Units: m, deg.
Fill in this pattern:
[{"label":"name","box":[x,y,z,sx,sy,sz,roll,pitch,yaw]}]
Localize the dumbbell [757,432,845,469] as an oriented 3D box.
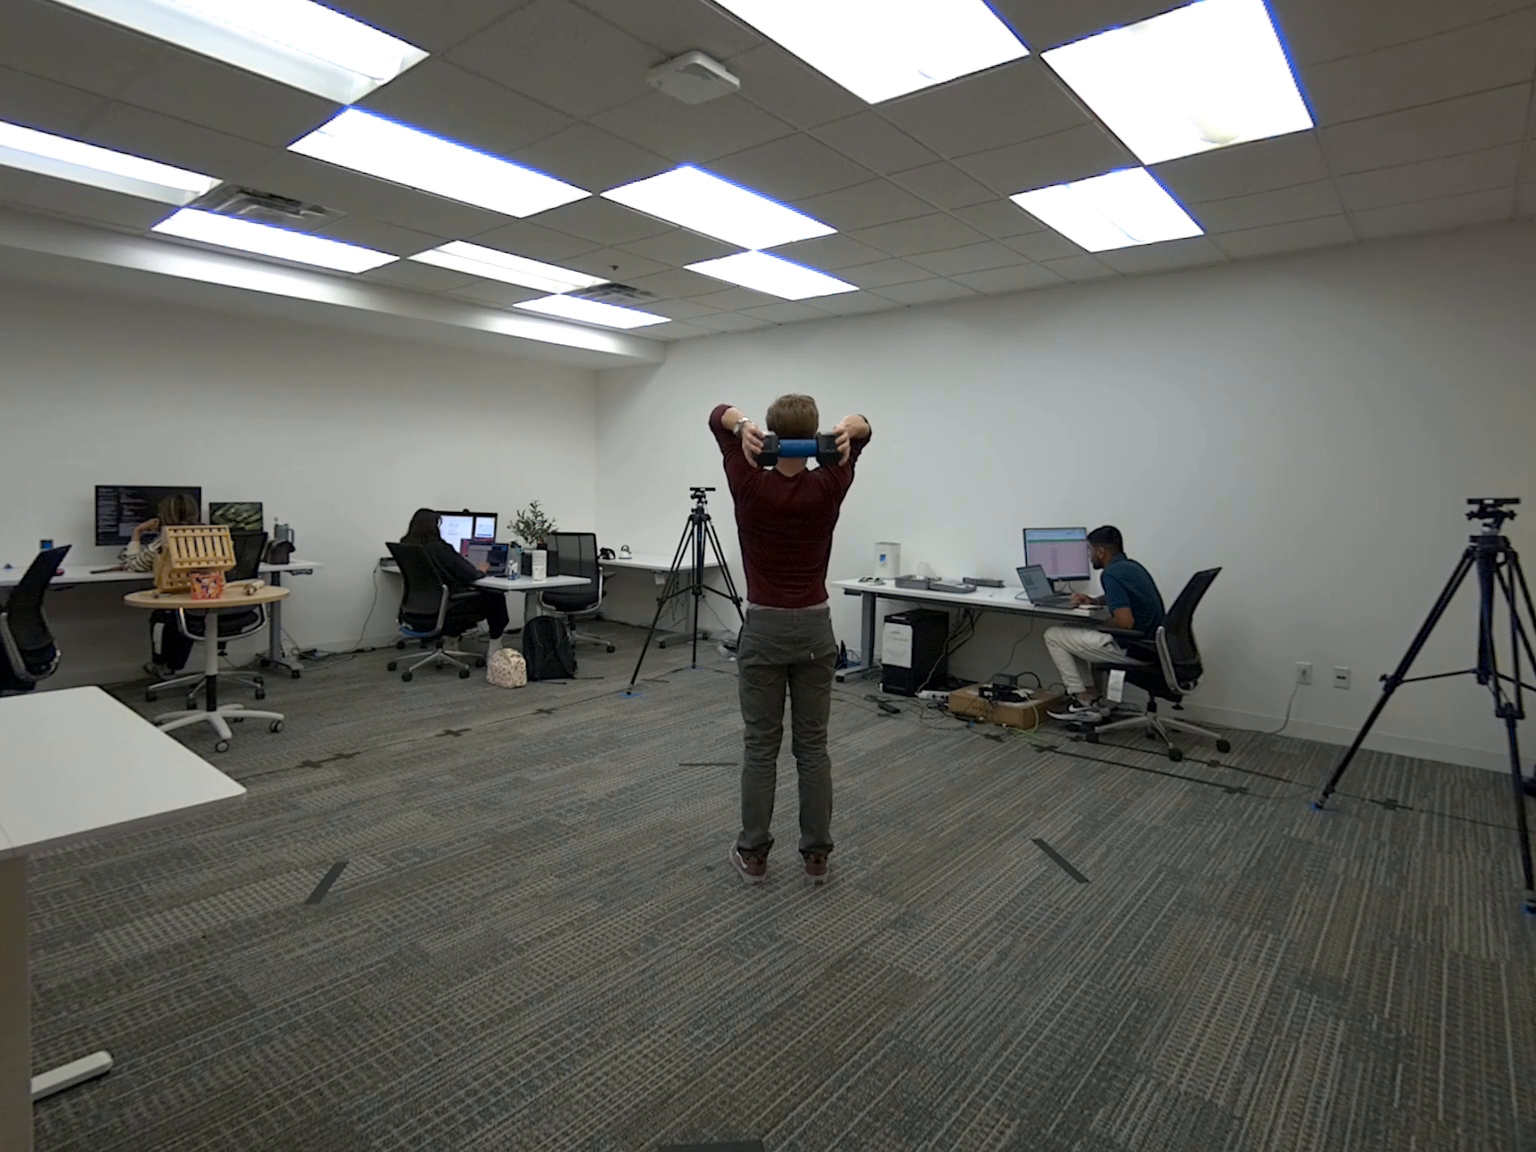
[{"label":"dumbbell","box":[0.092,-0.448,2.820,0.293,0.125,0.107,1,-14,-2]}]
